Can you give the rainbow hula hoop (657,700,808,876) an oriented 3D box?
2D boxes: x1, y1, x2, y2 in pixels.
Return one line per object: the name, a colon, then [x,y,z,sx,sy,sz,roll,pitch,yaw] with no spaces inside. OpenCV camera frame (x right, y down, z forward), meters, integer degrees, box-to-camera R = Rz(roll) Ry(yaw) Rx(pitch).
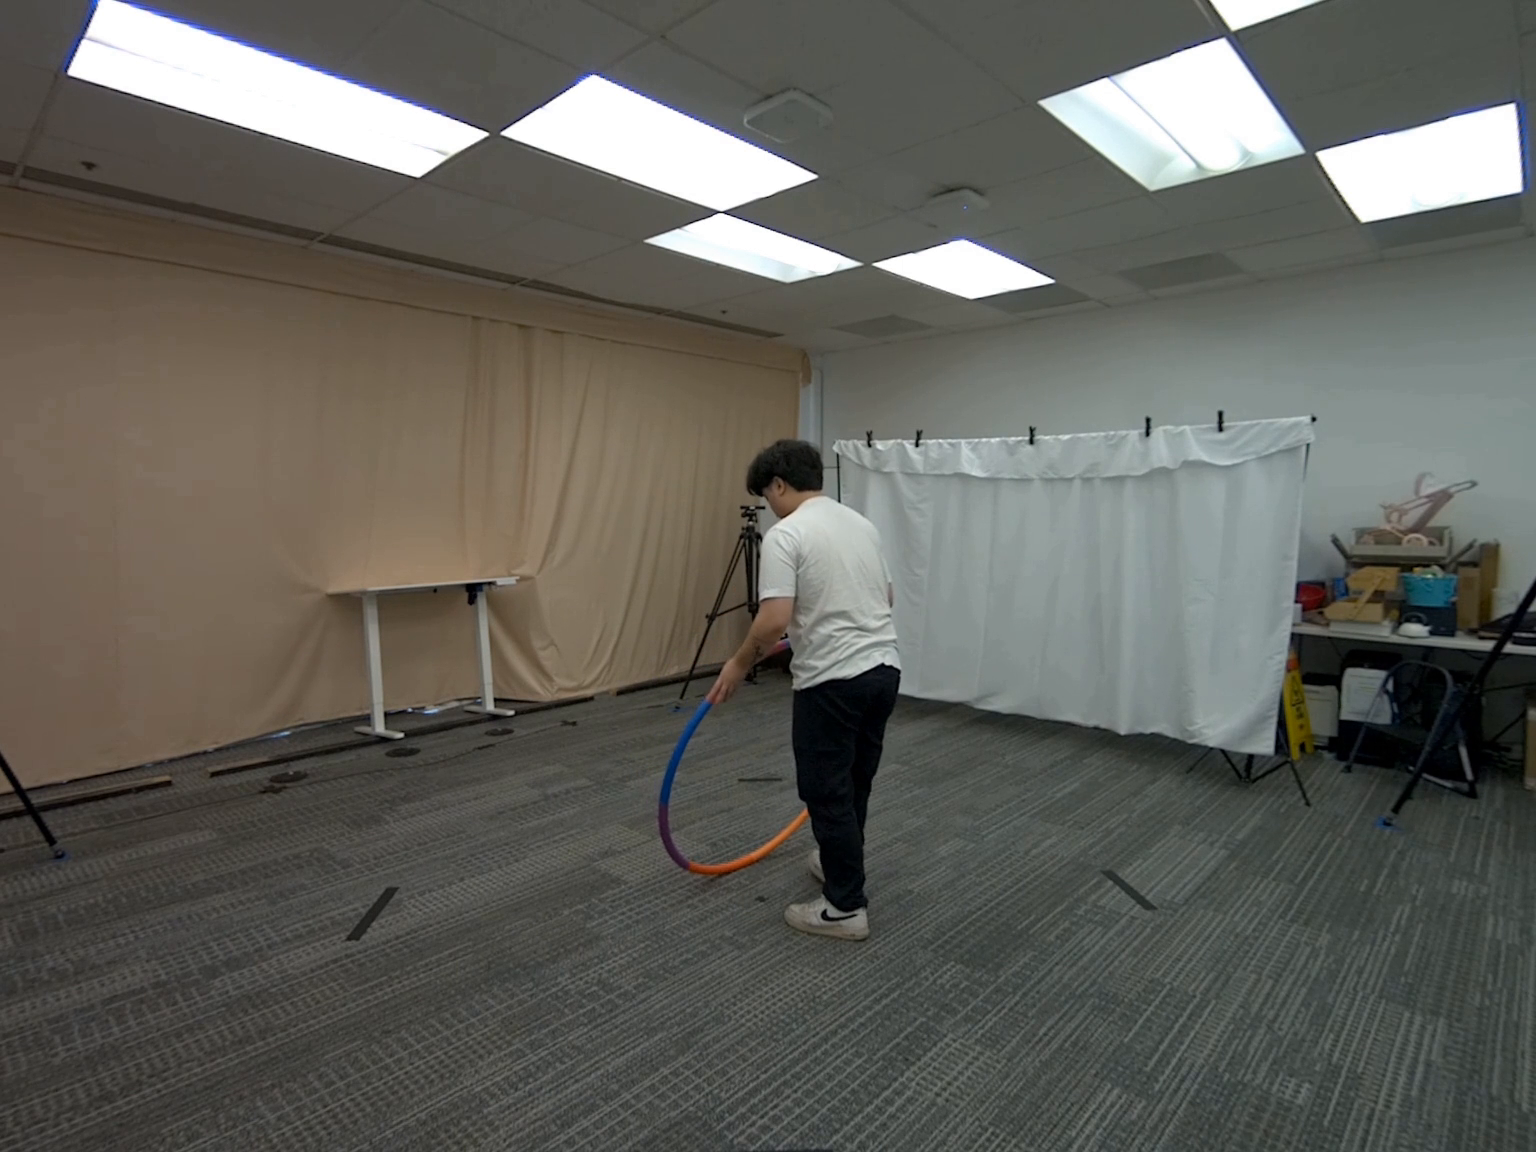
rainbow hula hoop: [-0.001,0.674,3.118,0.955,0.979,0.053,-4,24,-43]
